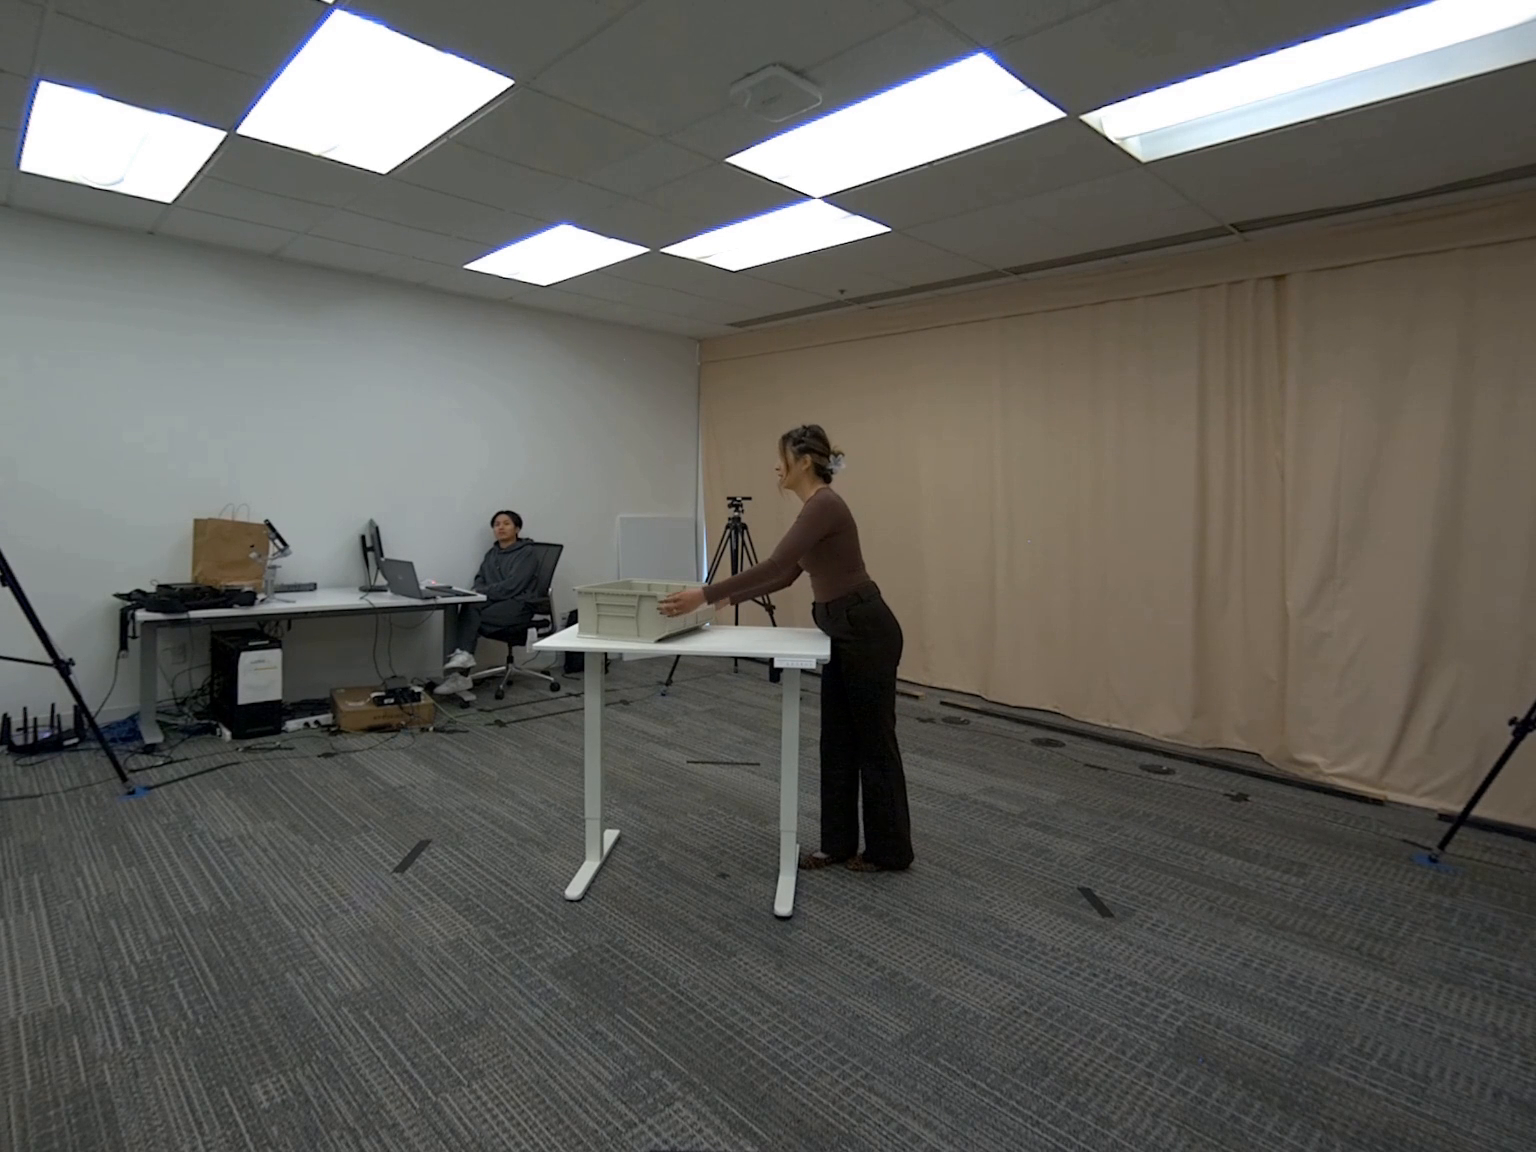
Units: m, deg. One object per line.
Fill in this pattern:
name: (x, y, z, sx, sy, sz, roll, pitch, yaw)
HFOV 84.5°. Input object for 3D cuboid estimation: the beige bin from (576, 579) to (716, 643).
beige bin: (-0.457, 0.128, 3.135, 0.383, 0.188, 0.416, 2, 5, 20)
